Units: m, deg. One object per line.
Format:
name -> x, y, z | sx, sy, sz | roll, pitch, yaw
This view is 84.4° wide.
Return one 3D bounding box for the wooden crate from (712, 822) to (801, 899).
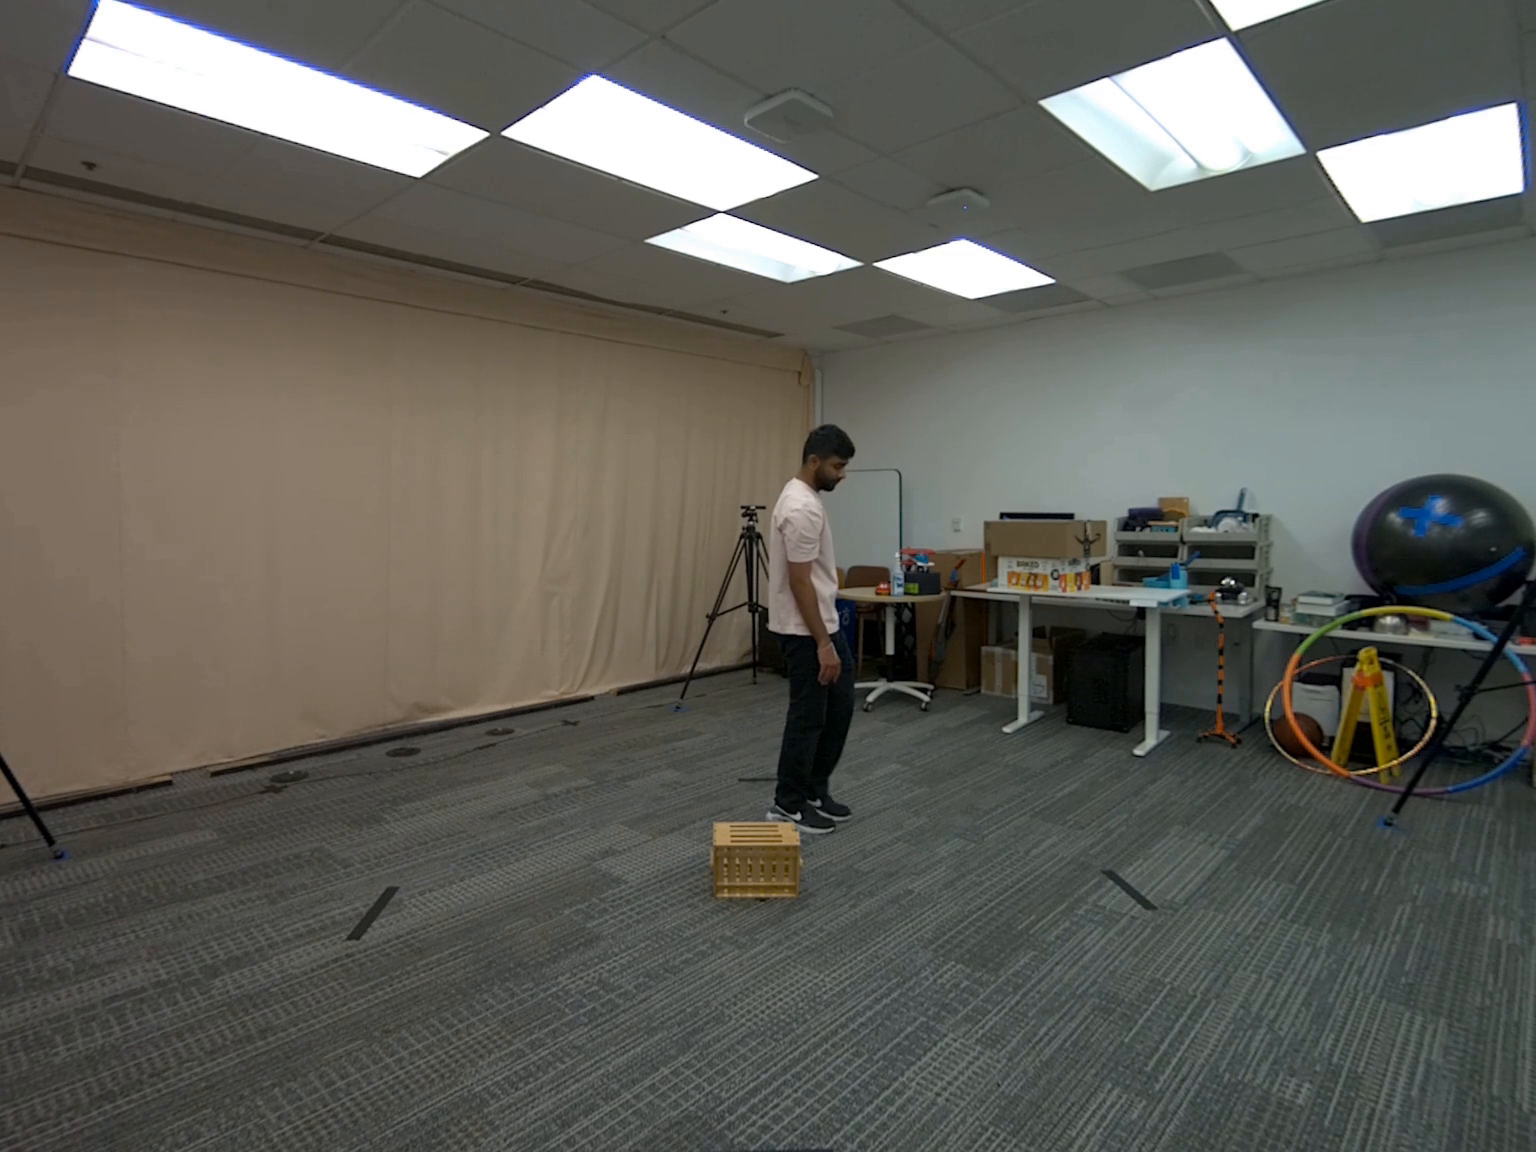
wooden crate -> -0.050, 1.003, 3.077 | 0.324, 0.298, 0.276 | 0, 20, -1
